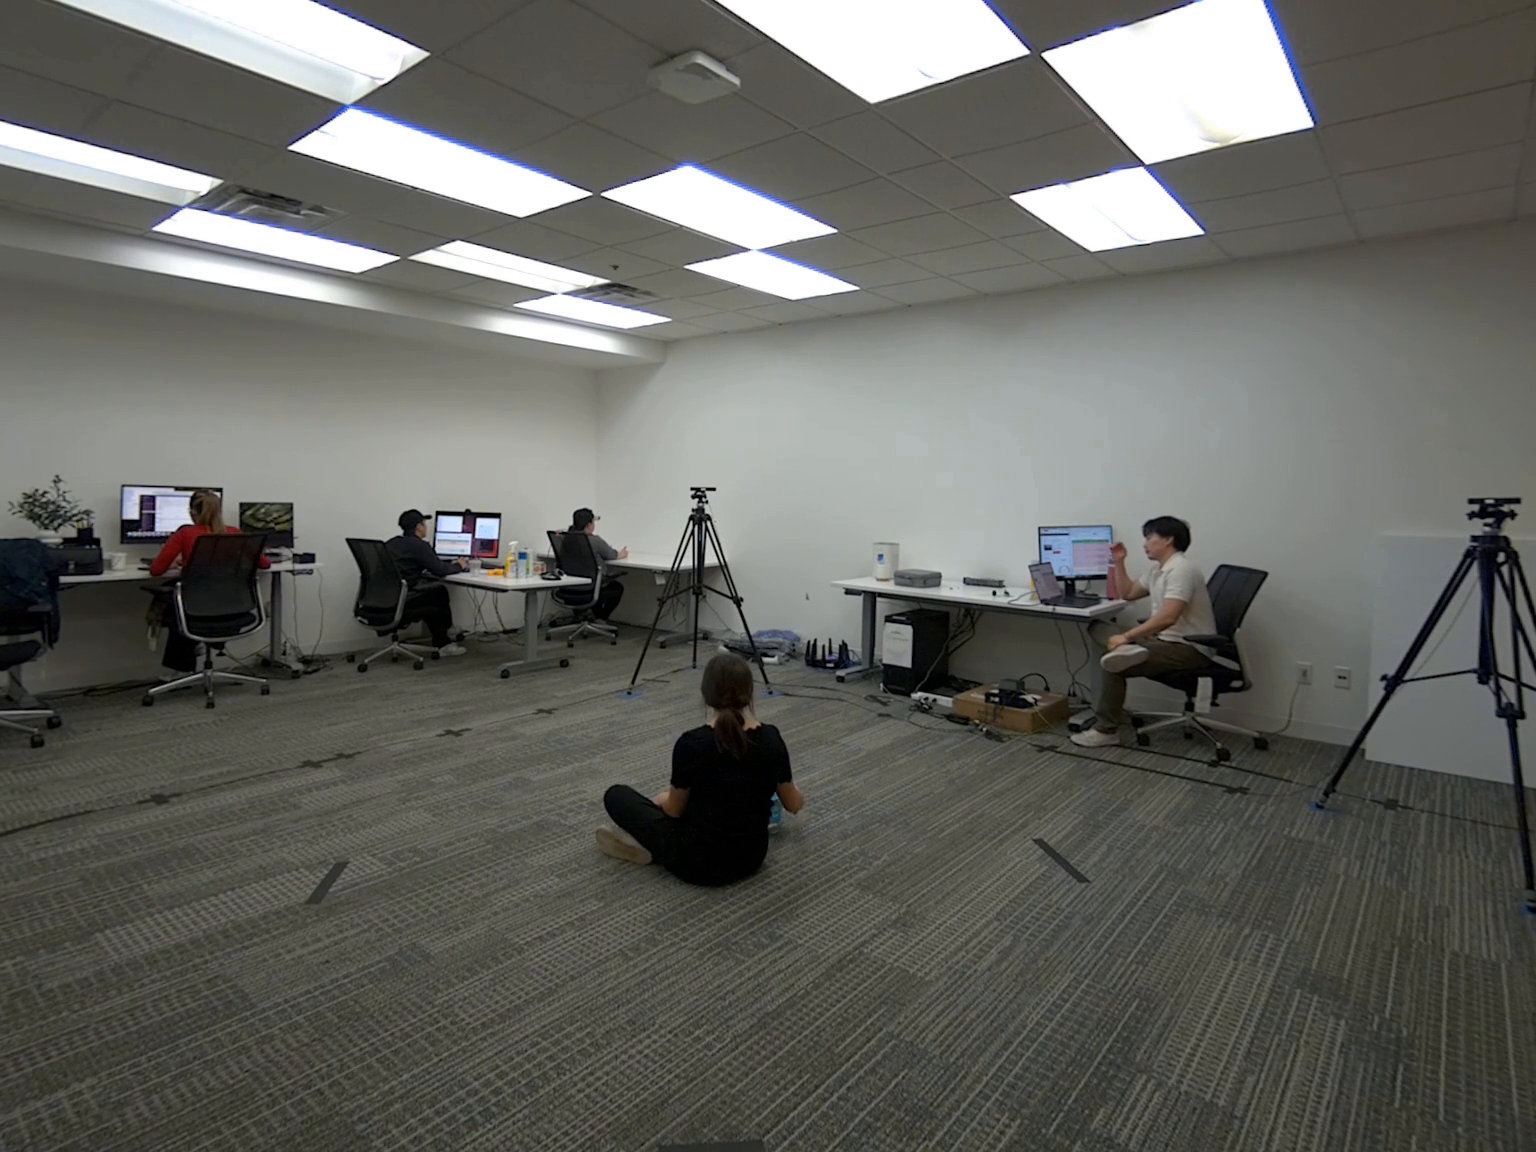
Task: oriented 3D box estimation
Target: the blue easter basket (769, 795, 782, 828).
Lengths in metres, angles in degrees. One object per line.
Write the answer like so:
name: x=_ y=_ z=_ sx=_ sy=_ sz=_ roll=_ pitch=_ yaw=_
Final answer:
blue easter basket: x=-0.035 y=0.946 z=3.490 sx=0.243 sy=0.155 sz=0.245 roll=3 pitch=5 yaw=-2
